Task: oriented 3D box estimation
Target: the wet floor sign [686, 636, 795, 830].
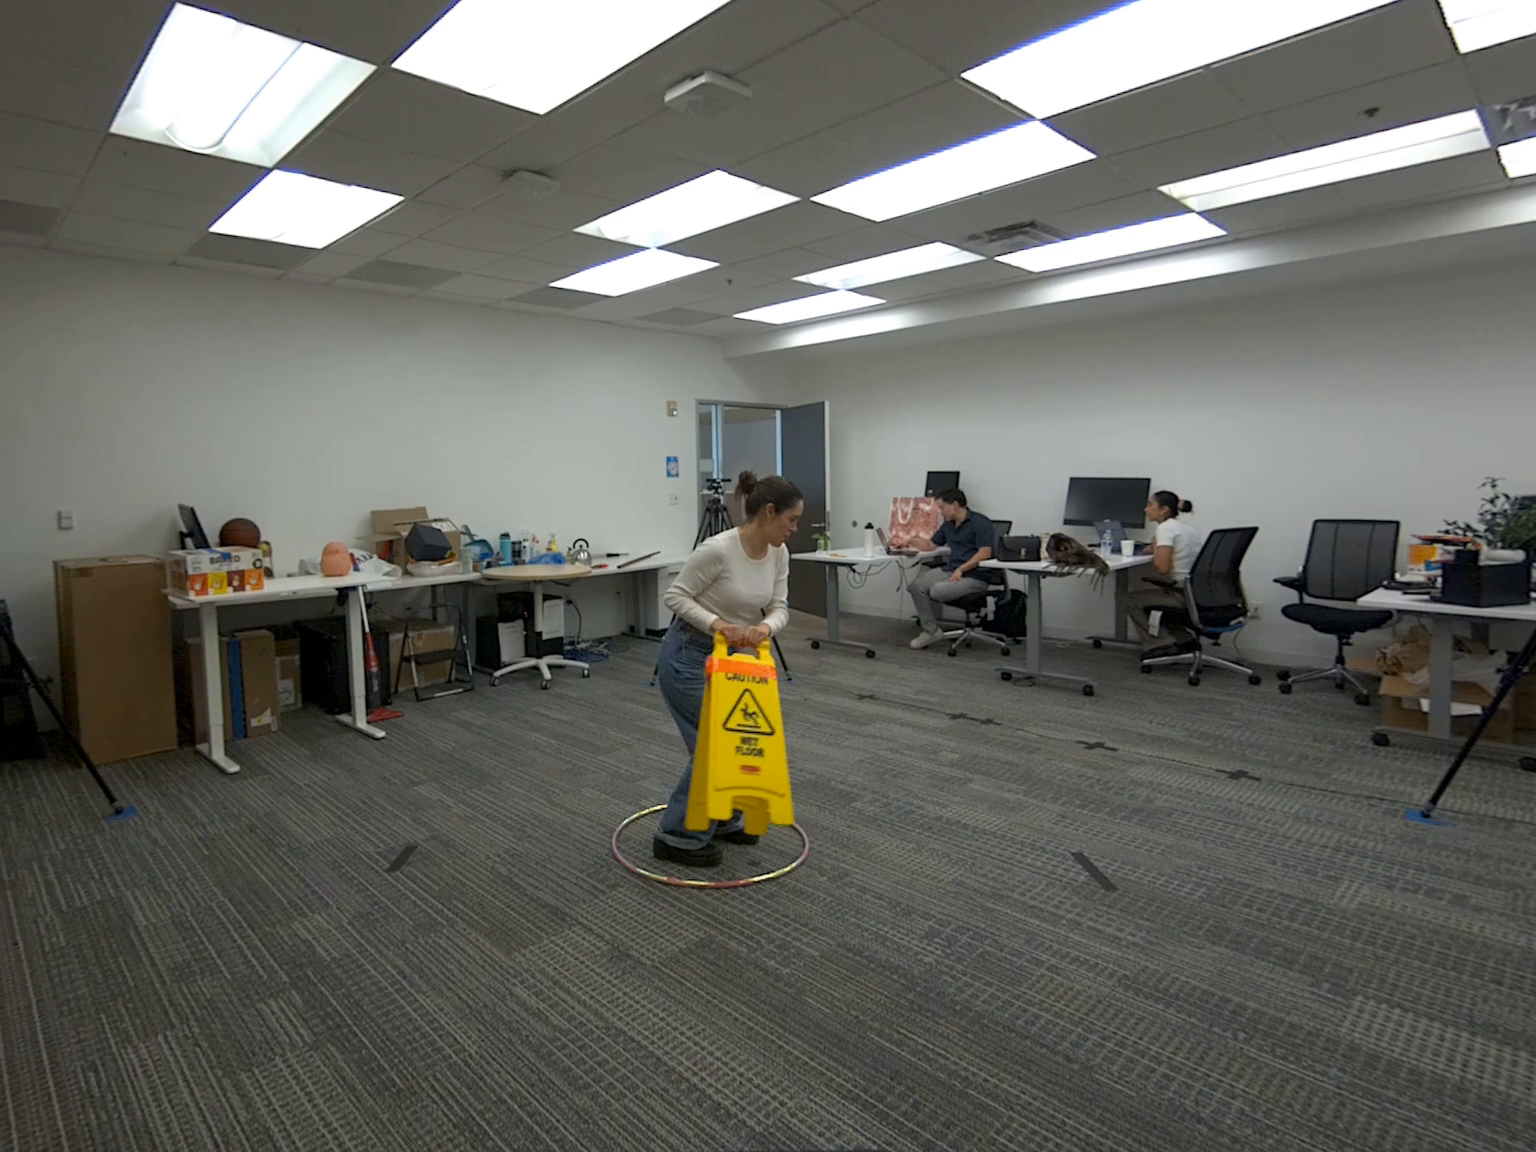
[{"bbox_3d":[-0.079,0.460,2.870,0.278,0.659,0.288,7,-26,-16],"label":"wet floor sign"}]
